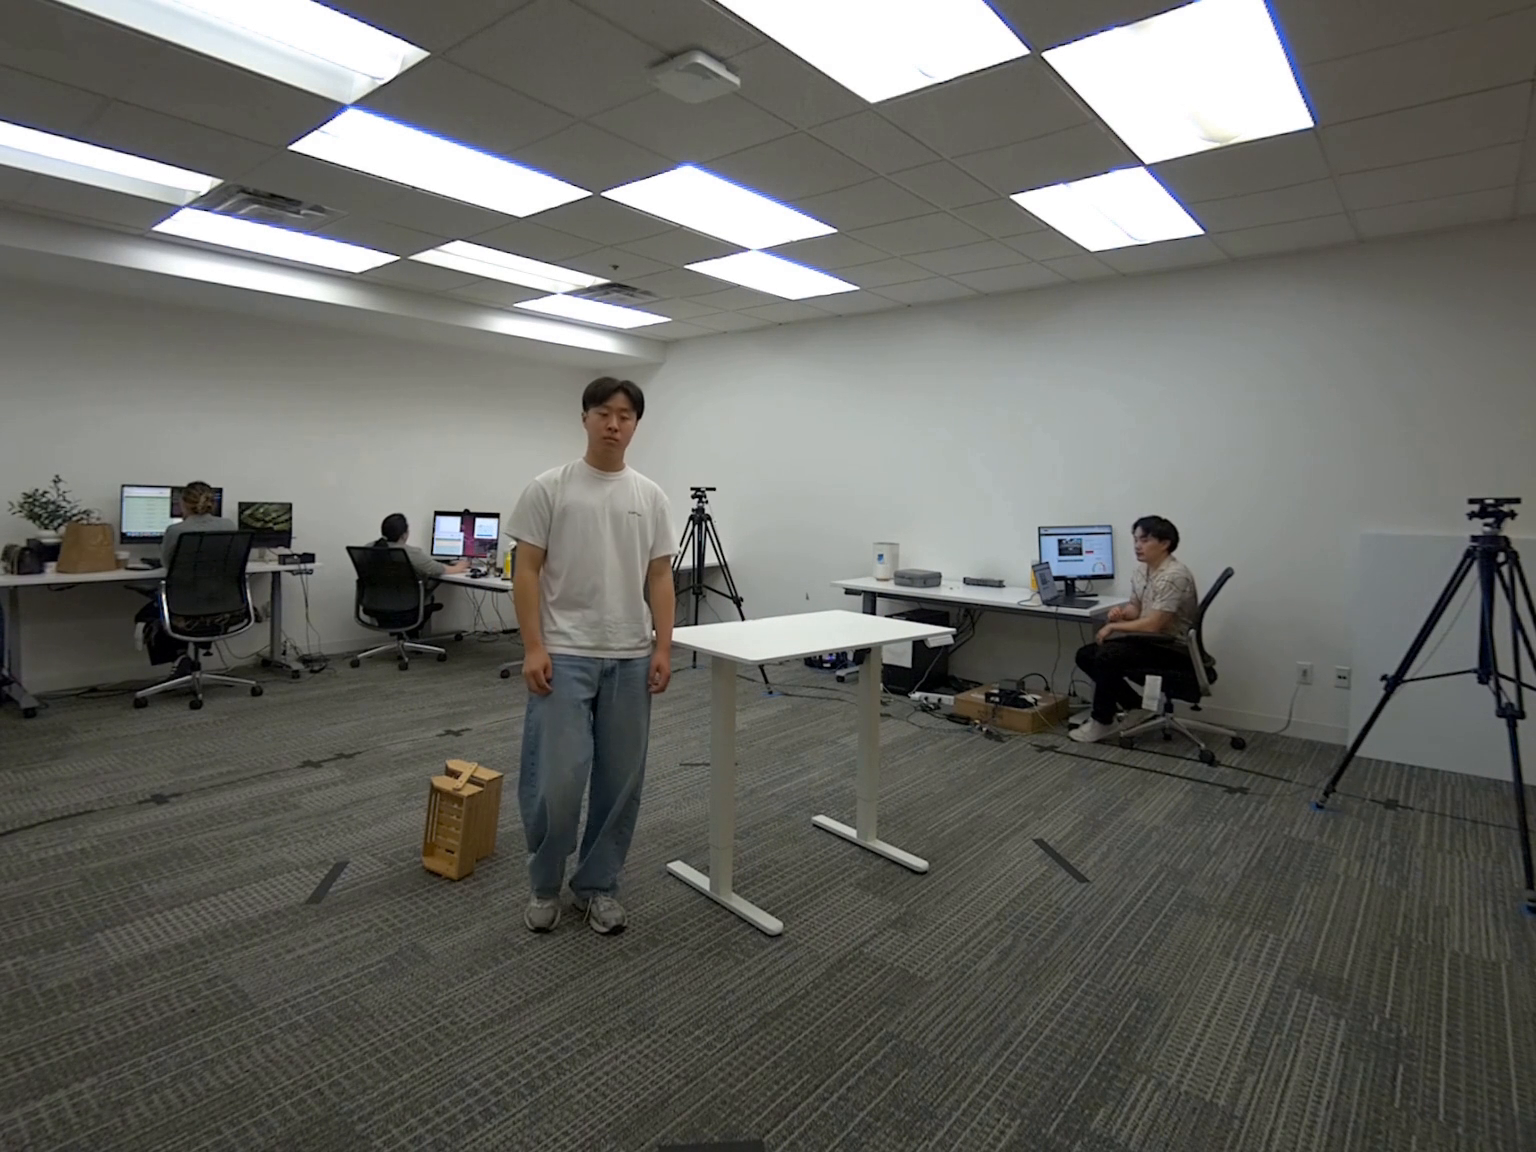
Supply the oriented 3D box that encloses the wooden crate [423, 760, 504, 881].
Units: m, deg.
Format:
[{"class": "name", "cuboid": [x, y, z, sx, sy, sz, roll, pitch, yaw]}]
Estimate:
[{"class": "wooden crate", "cuboid": [-1.171, 0.886, 3.125, 0.310, 0.324, 0.267, 7, 3, 22]}]
